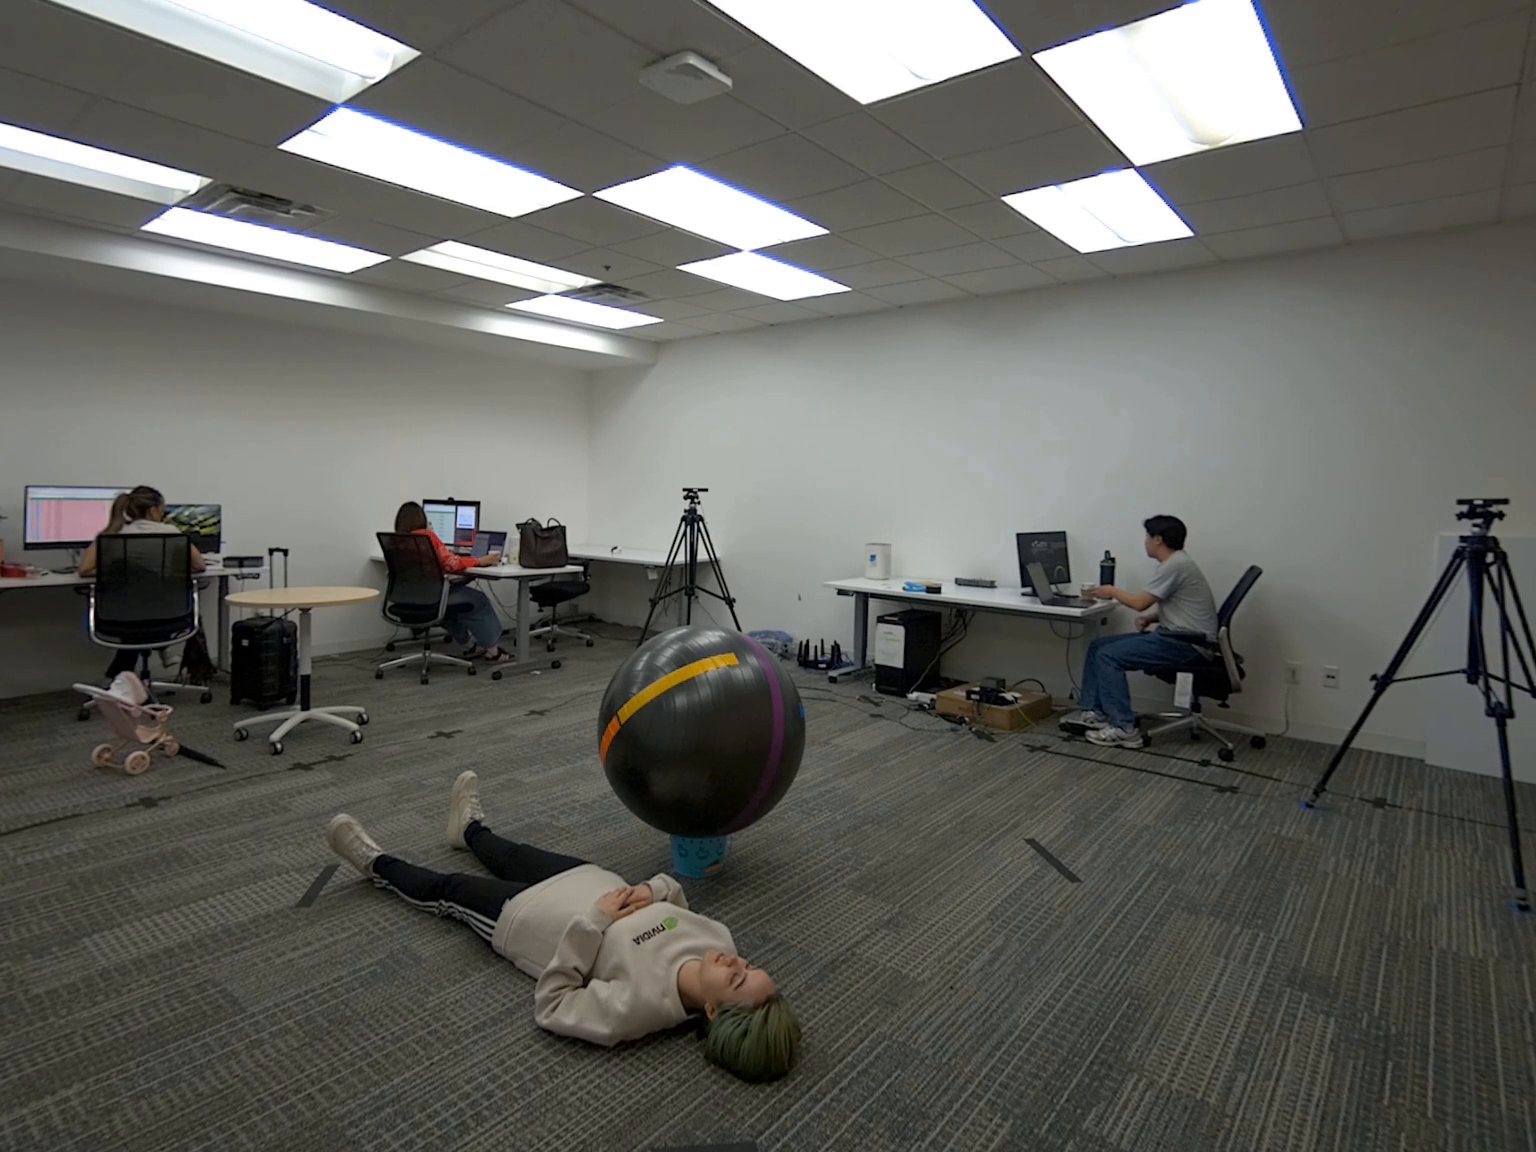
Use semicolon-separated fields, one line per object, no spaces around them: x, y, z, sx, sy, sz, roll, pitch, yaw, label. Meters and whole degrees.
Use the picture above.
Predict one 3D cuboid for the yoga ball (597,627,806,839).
-0.255;0.556;3.105;0.757;0.755;0.762;1;4;-2;yoga ball
